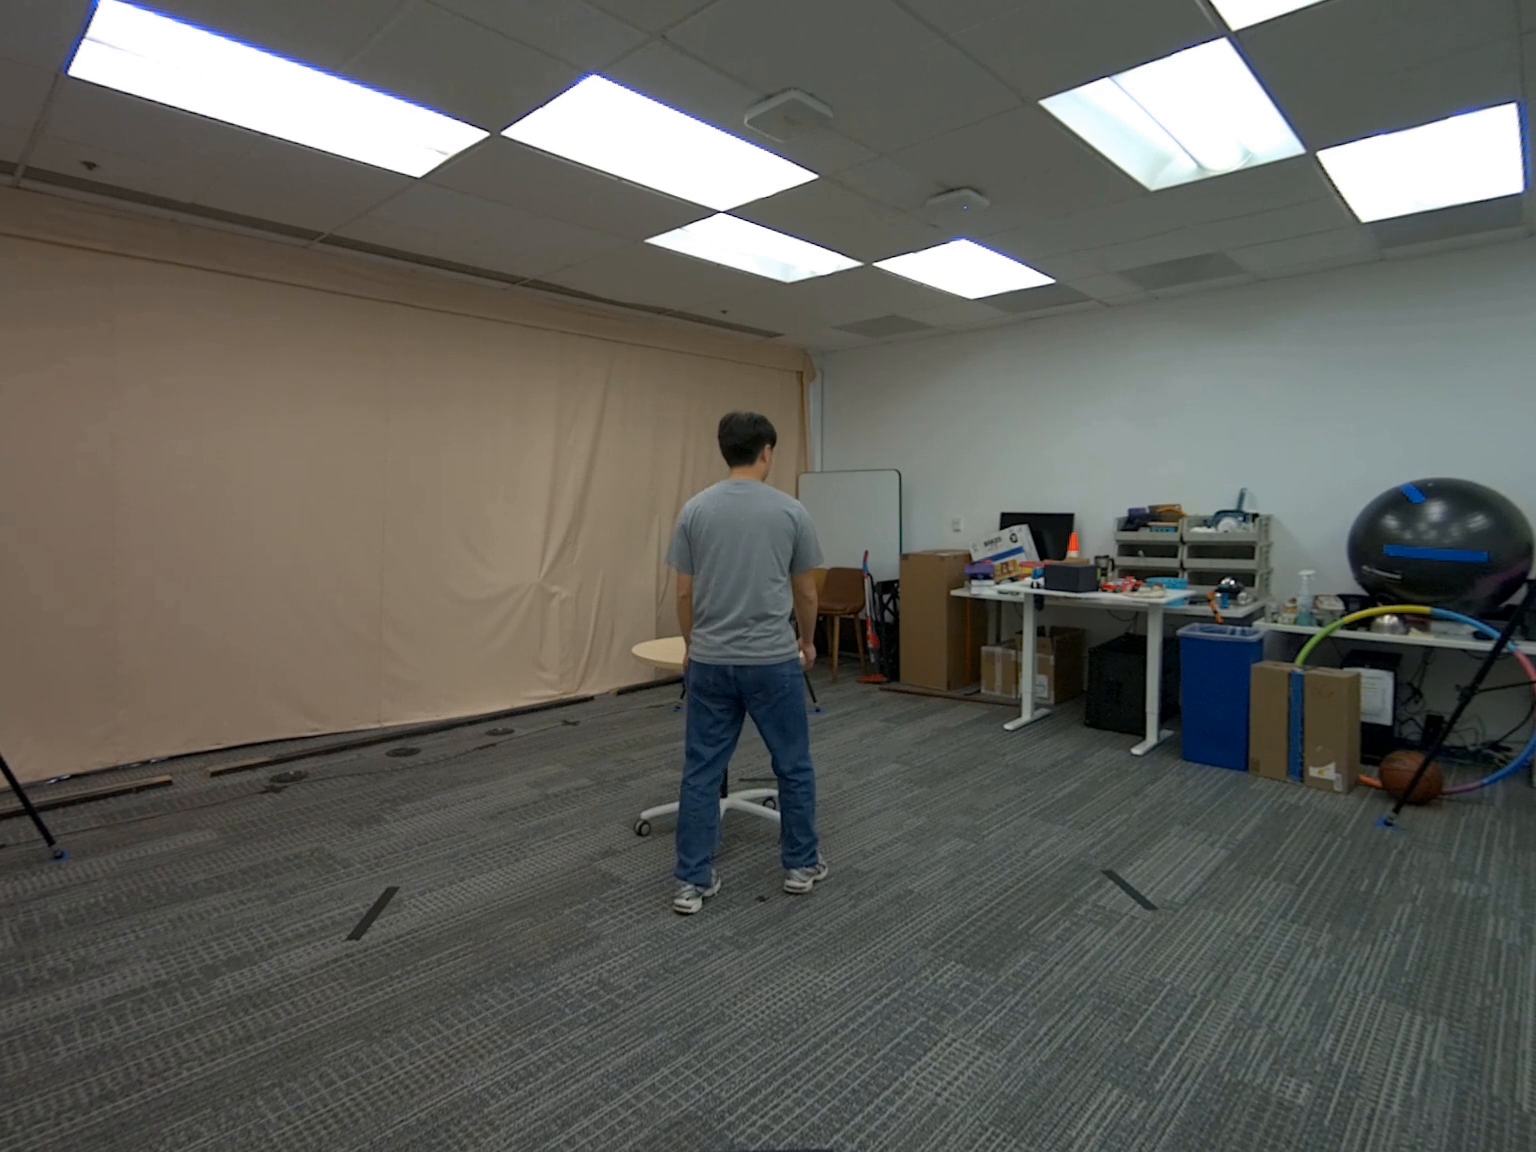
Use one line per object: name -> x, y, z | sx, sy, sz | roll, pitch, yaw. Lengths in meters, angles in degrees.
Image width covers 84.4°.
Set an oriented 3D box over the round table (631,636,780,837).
round table -> -0.195, 0.704, 3.614 | 0.763, 0.792, 0.766 | 0, 3, -2
